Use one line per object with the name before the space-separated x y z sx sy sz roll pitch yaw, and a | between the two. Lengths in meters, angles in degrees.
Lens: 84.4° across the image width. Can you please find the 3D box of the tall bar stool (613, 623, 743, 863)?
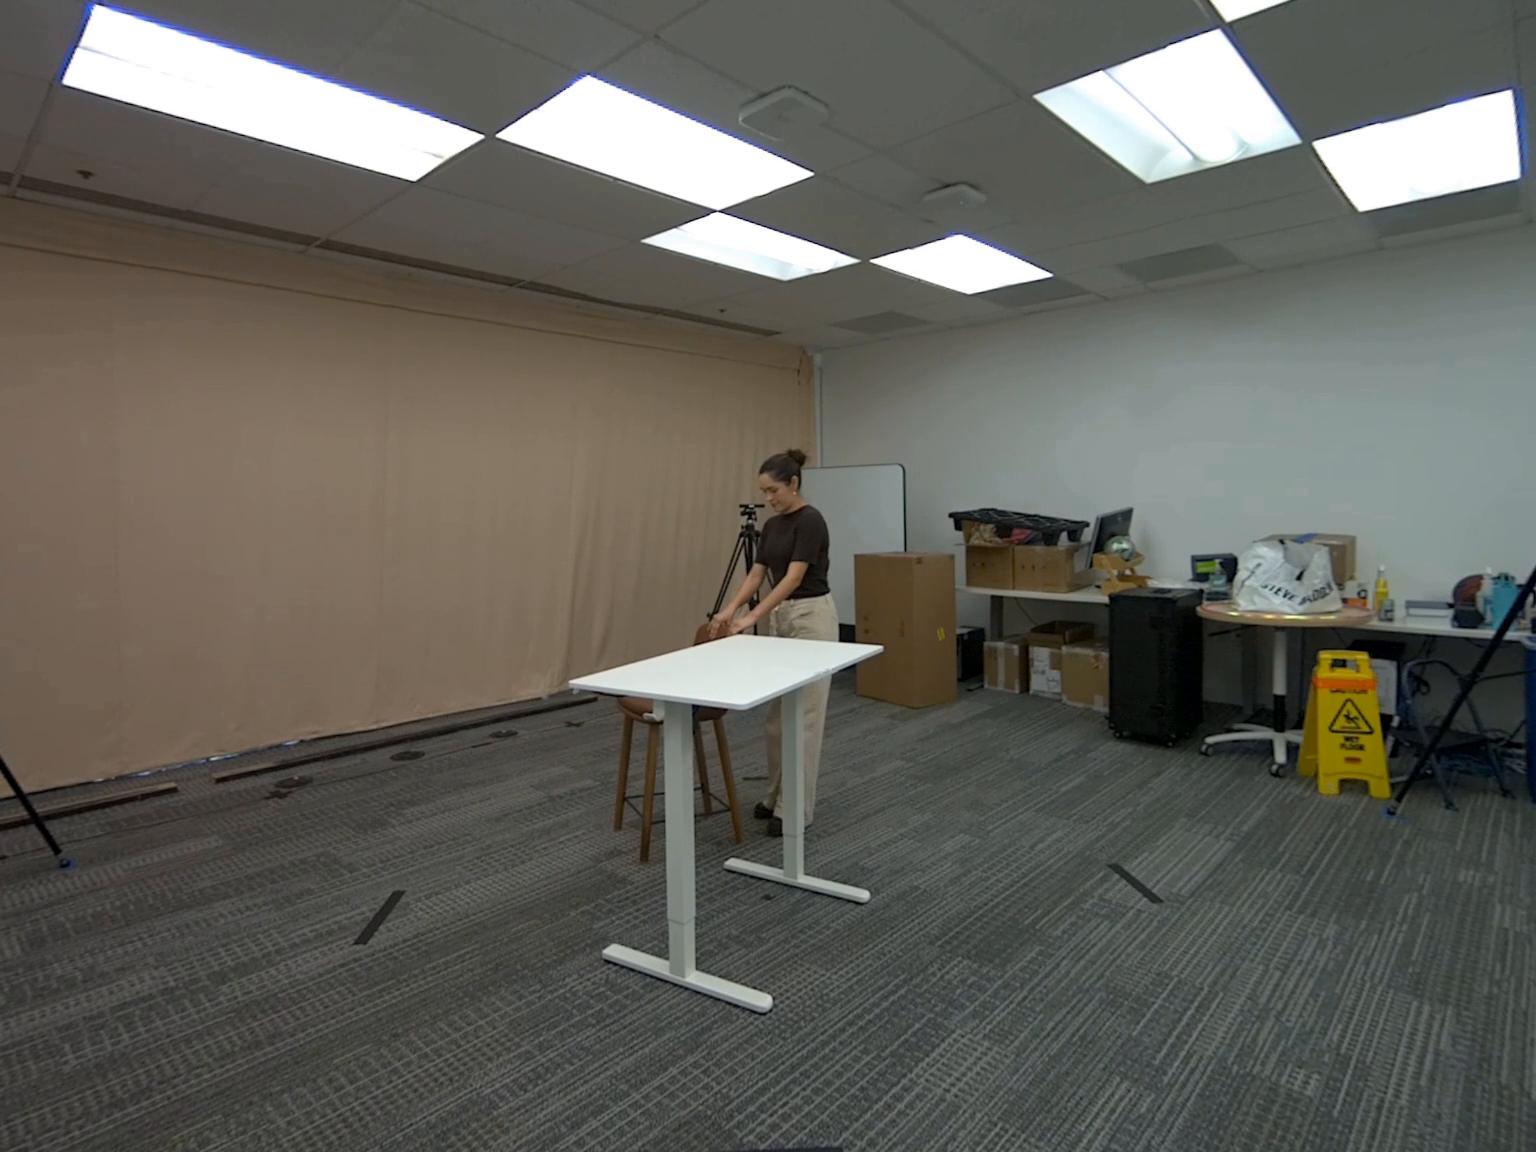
tall bar stool | -0.377 0.659 3.534 0.457 0.889 0.468 0 2 -24
